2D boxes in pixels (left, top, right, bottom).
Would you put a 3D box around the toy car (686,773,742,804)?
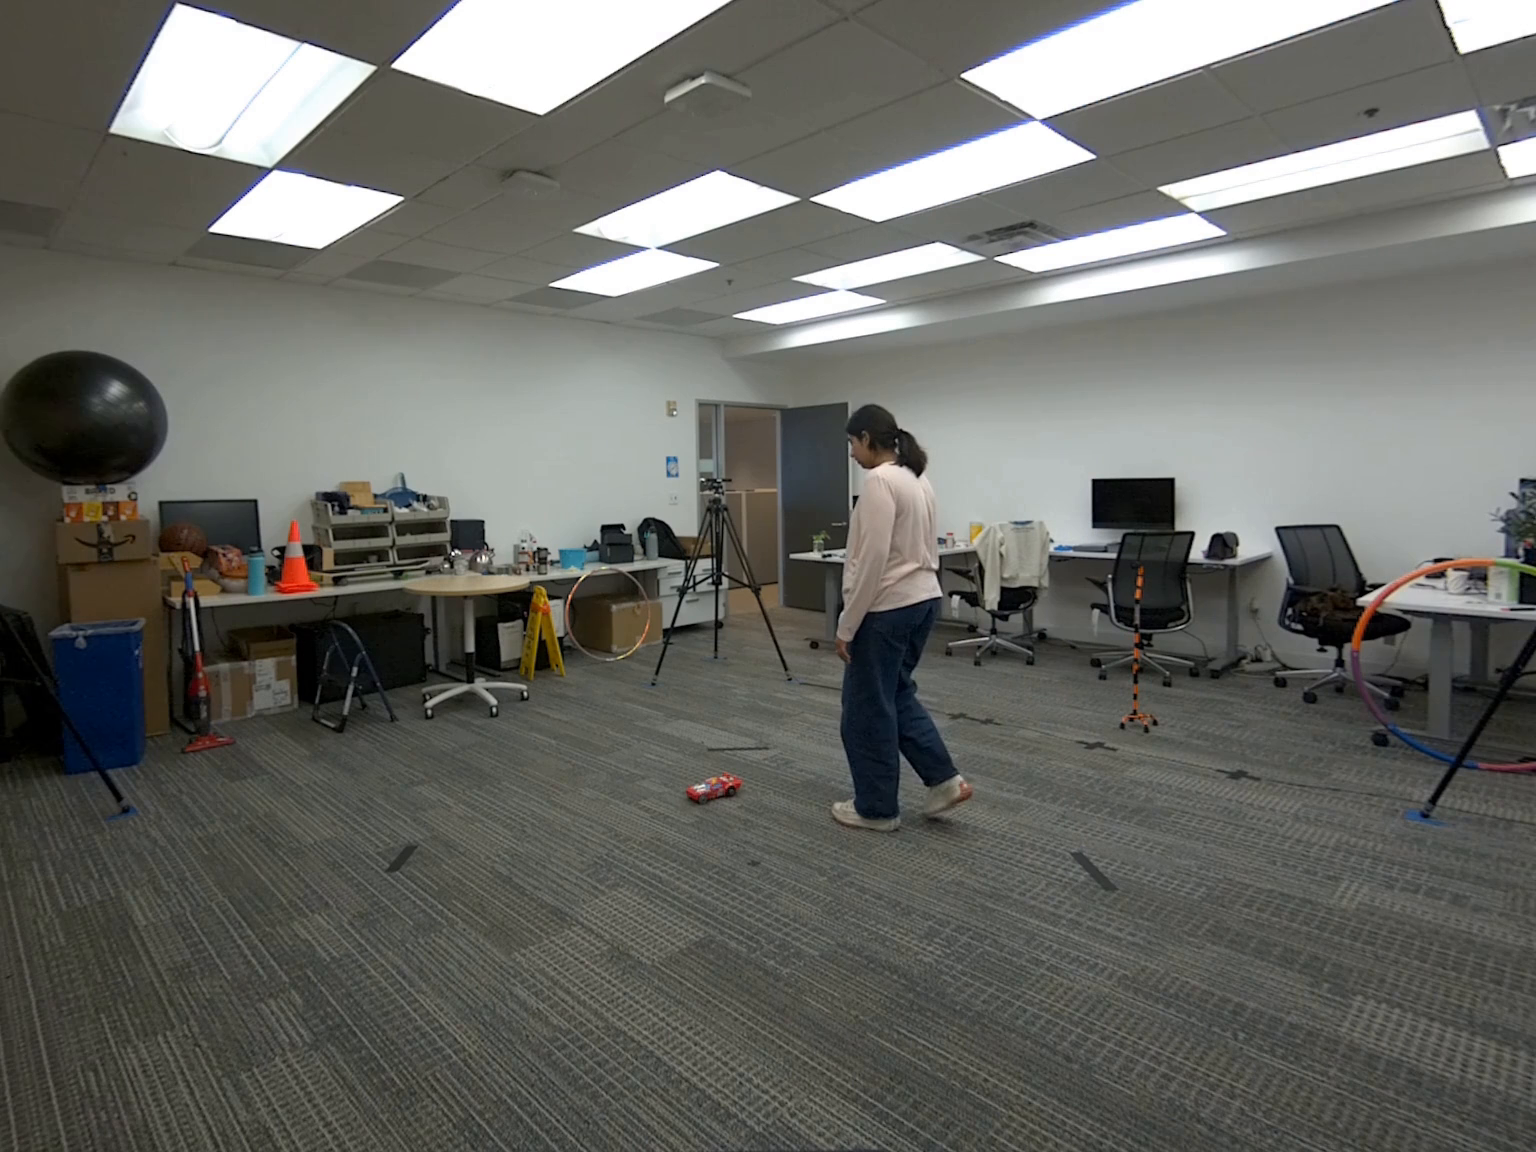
[{"bbox_3d":[-0.233,0.942,3.784,0.250,0.082,0.134,-18,13,-30],"label":"toy car"}]
